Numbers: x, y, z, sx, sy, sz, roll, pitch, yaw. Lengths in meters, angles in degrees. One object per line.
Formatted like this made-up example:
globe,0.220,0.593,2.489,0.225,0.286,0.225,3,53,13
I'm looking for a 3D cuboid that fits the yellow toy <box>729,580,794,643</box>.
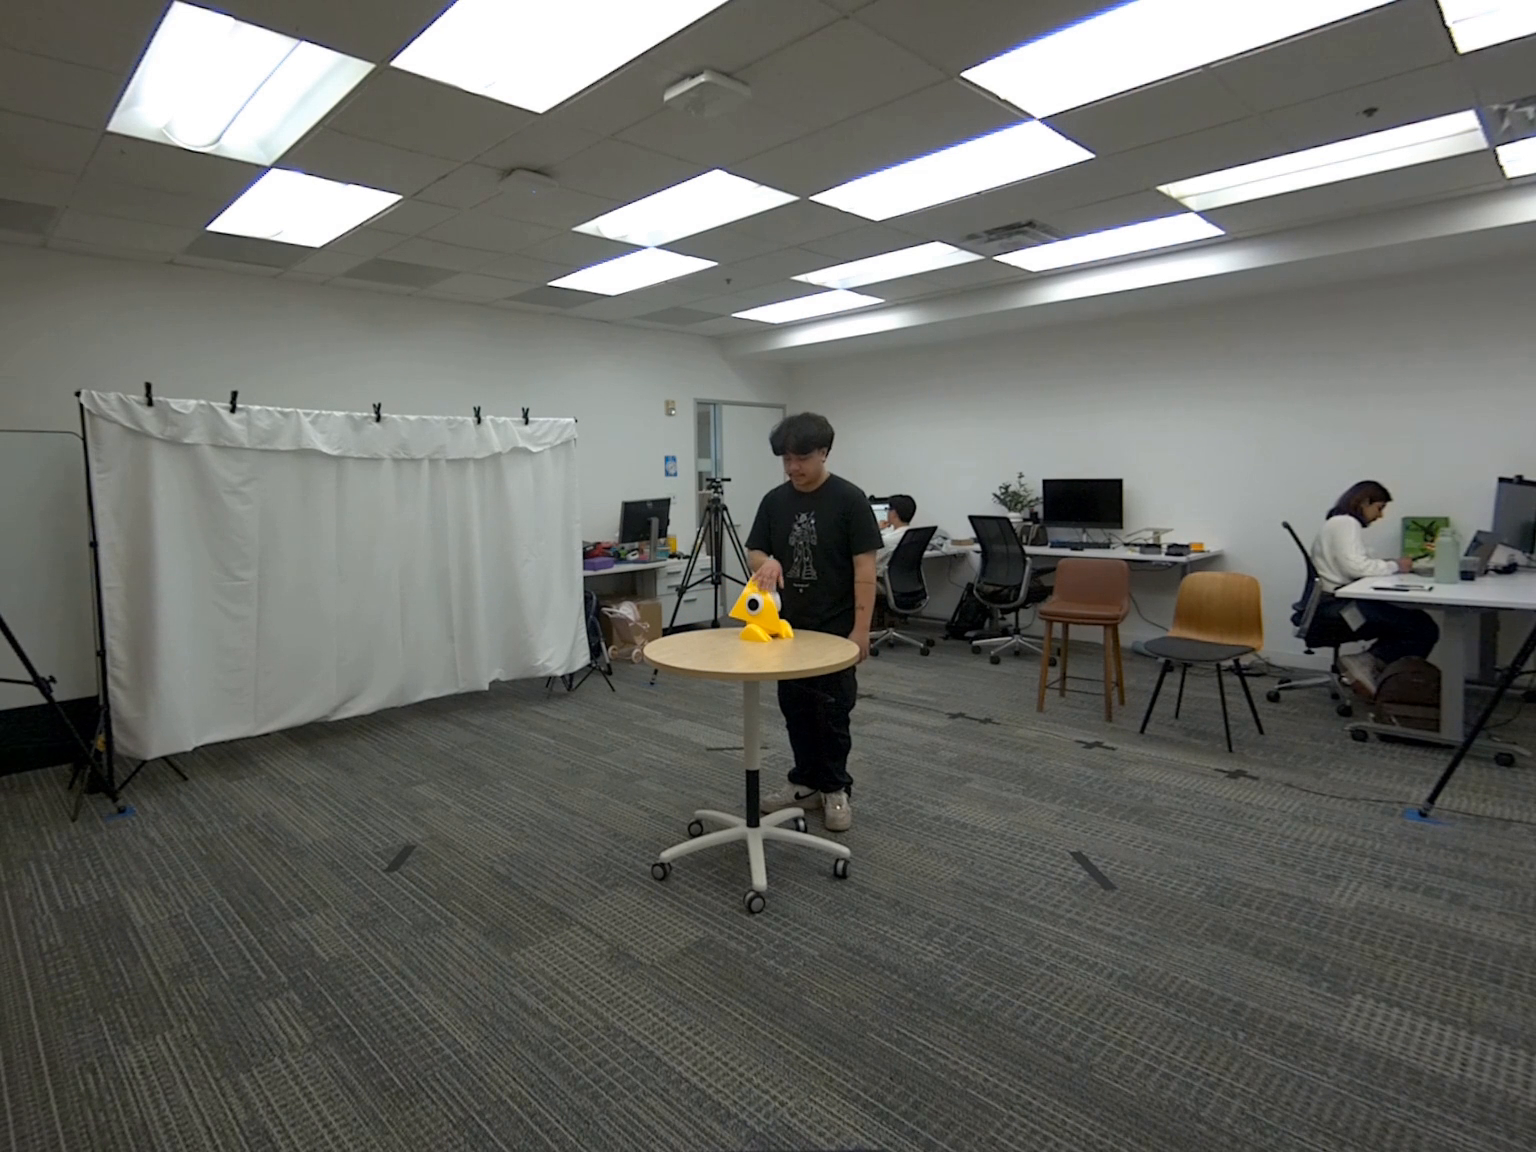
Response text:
yellow toy,-0.013,0.117,3.244,0.199,0.230,0.199,-5,7,-38
